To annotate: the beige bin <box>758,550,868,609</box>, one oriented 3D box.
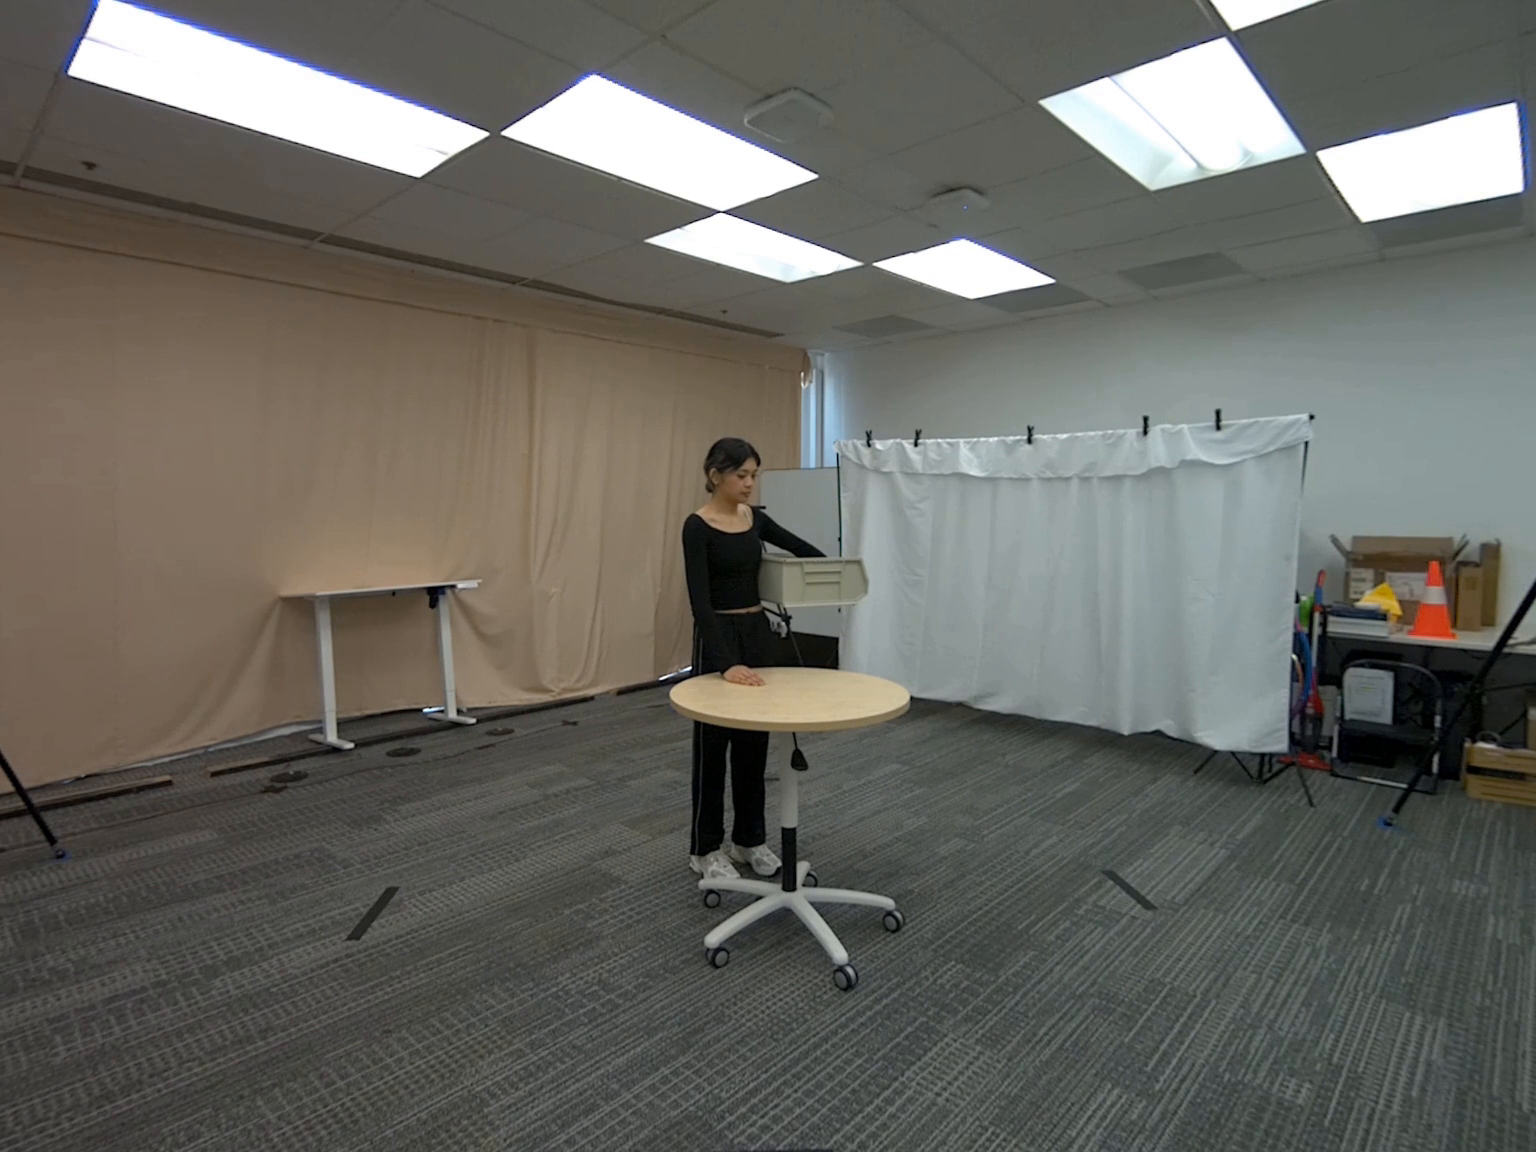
[{"bbox_3d":[0.131,0.009,3.306,0.368,0.188,0.434,-1,4,-27],"label":"beige bin"}]
